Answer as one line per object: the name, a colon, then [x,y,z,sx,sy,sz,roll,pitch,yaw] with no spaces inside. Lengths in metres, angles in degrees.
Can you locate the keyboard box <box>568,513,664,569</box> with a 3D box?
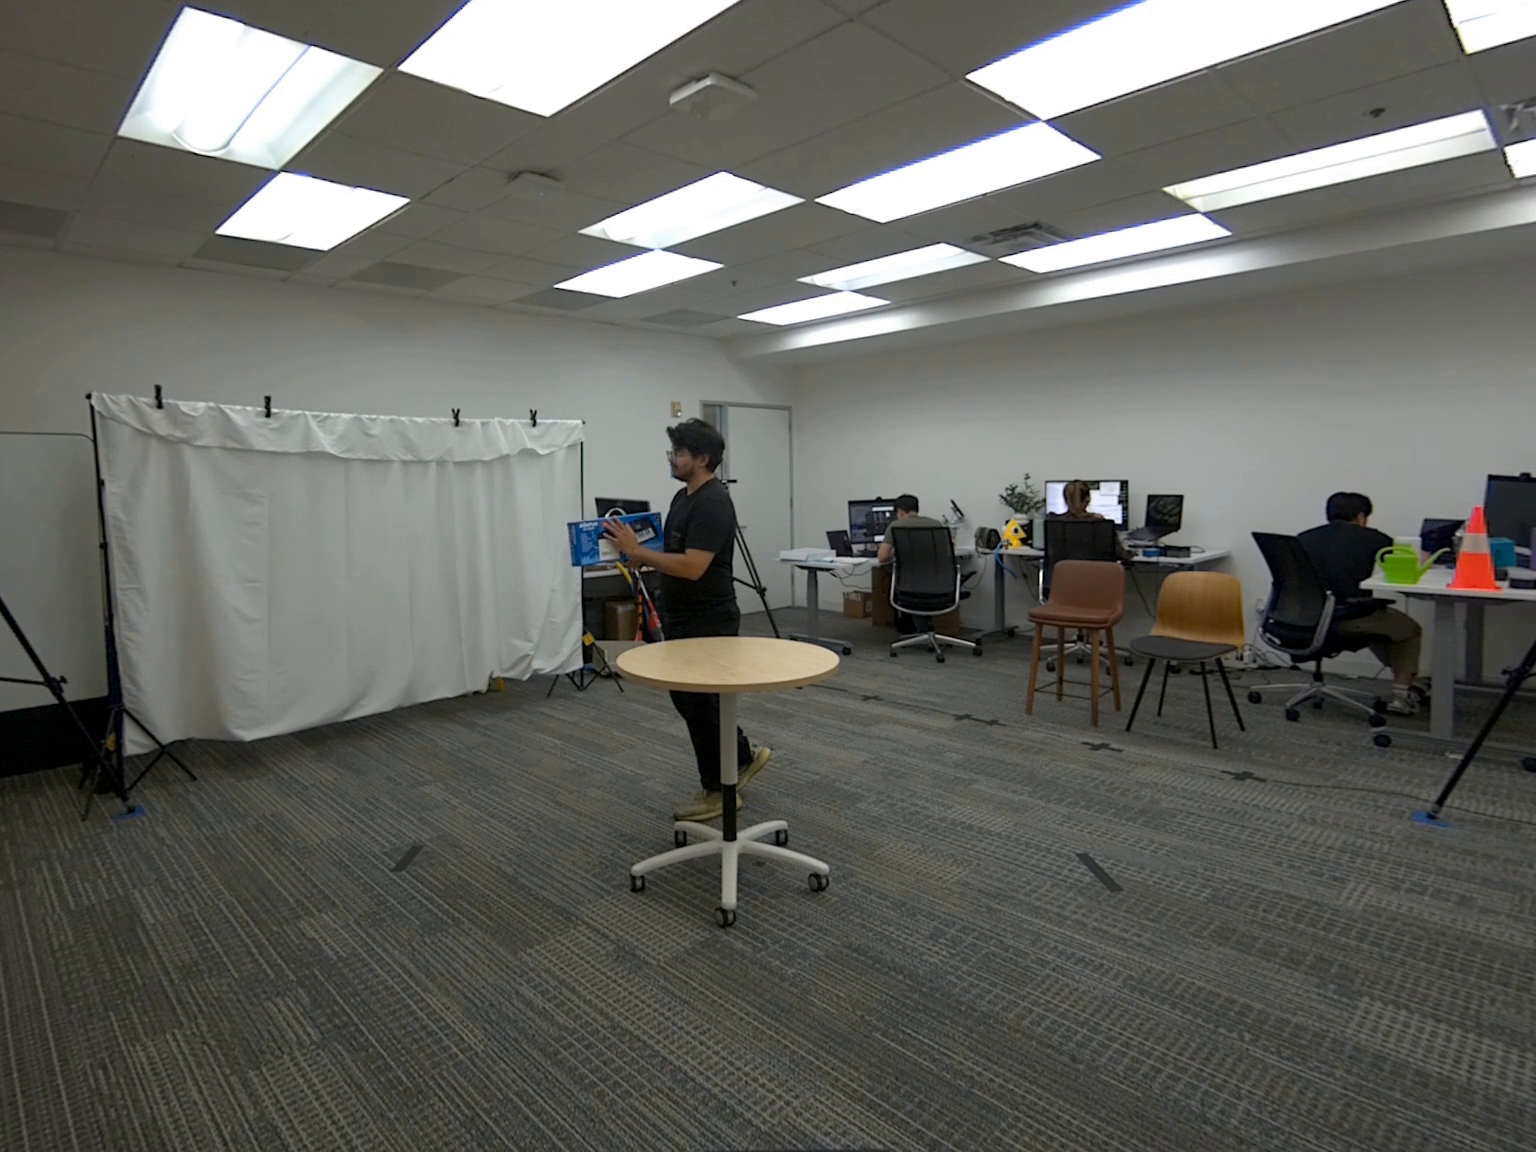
keyboard box: [-0.601,-0.151,3.432,0.061,0.175,0.426,-2,7,41]
